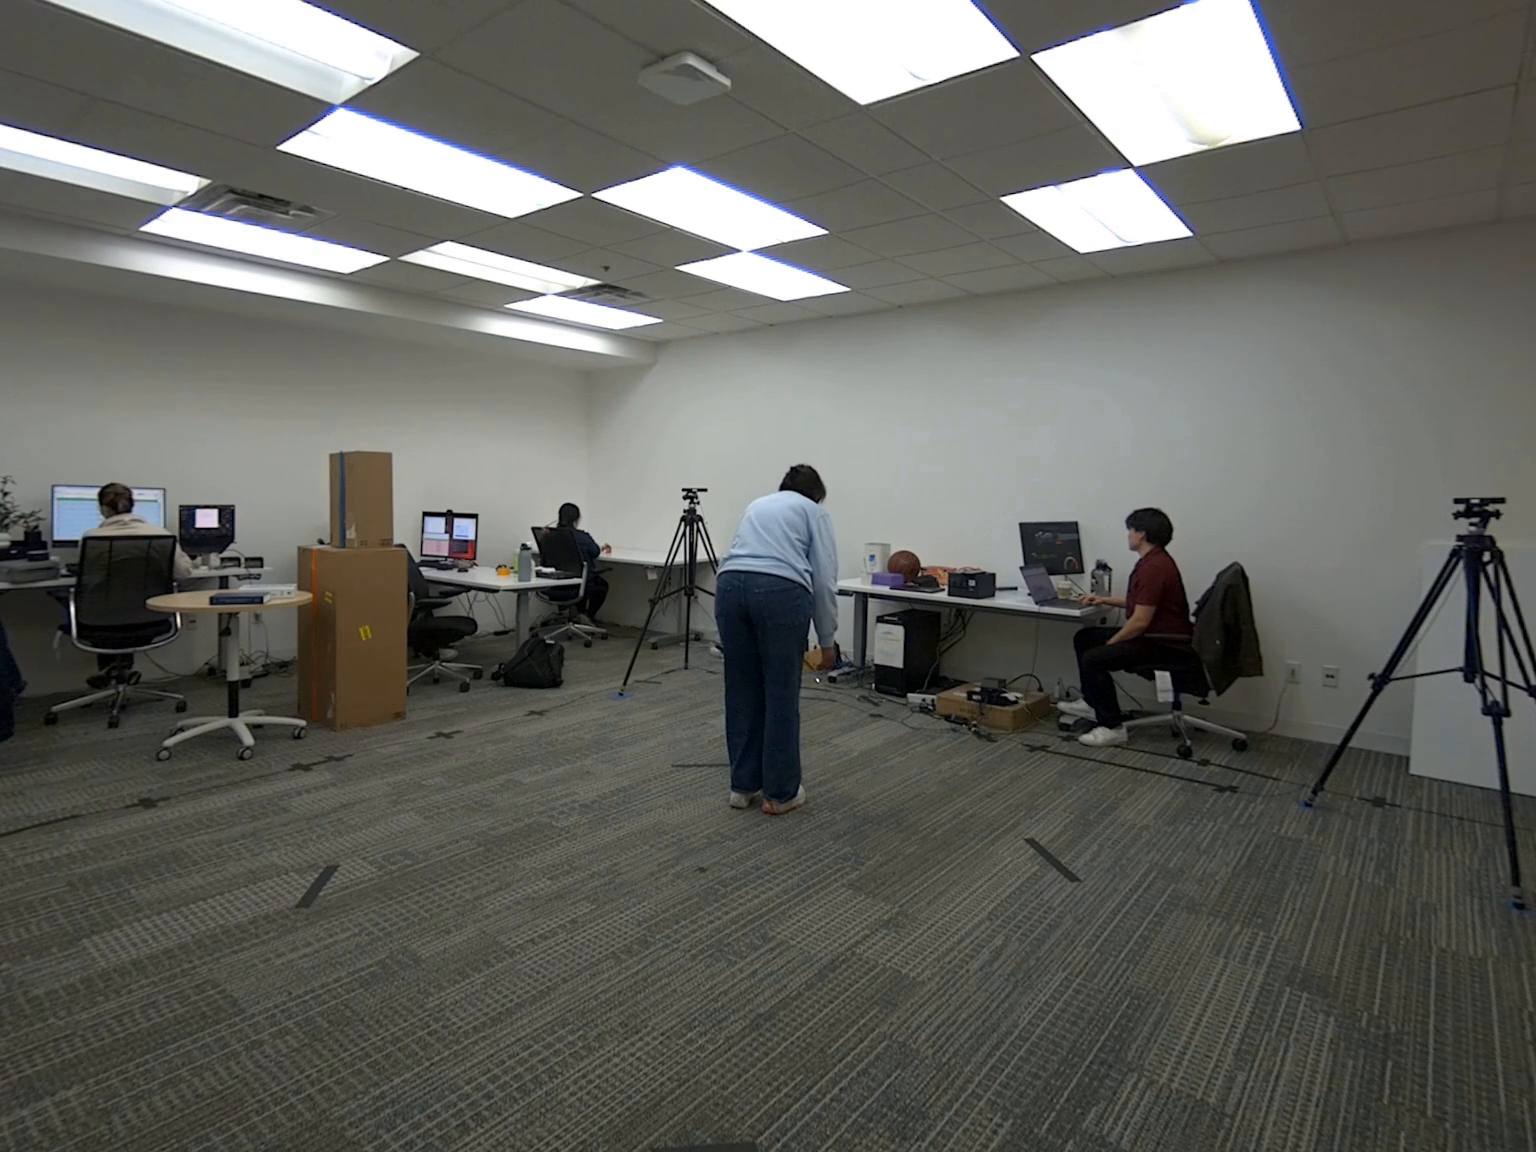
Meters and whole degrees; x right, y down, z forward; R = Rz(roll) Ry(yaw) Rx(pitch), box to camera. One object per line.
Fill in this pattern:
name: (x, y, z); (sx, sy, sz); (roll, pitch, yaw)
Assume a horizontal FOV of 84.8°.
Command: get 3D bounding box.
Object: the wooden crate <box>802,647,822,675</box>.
wooden crate: (0.095, 0.347, 4.217); (0.296, 0.275, 0.329); (-15, -4, -31)
